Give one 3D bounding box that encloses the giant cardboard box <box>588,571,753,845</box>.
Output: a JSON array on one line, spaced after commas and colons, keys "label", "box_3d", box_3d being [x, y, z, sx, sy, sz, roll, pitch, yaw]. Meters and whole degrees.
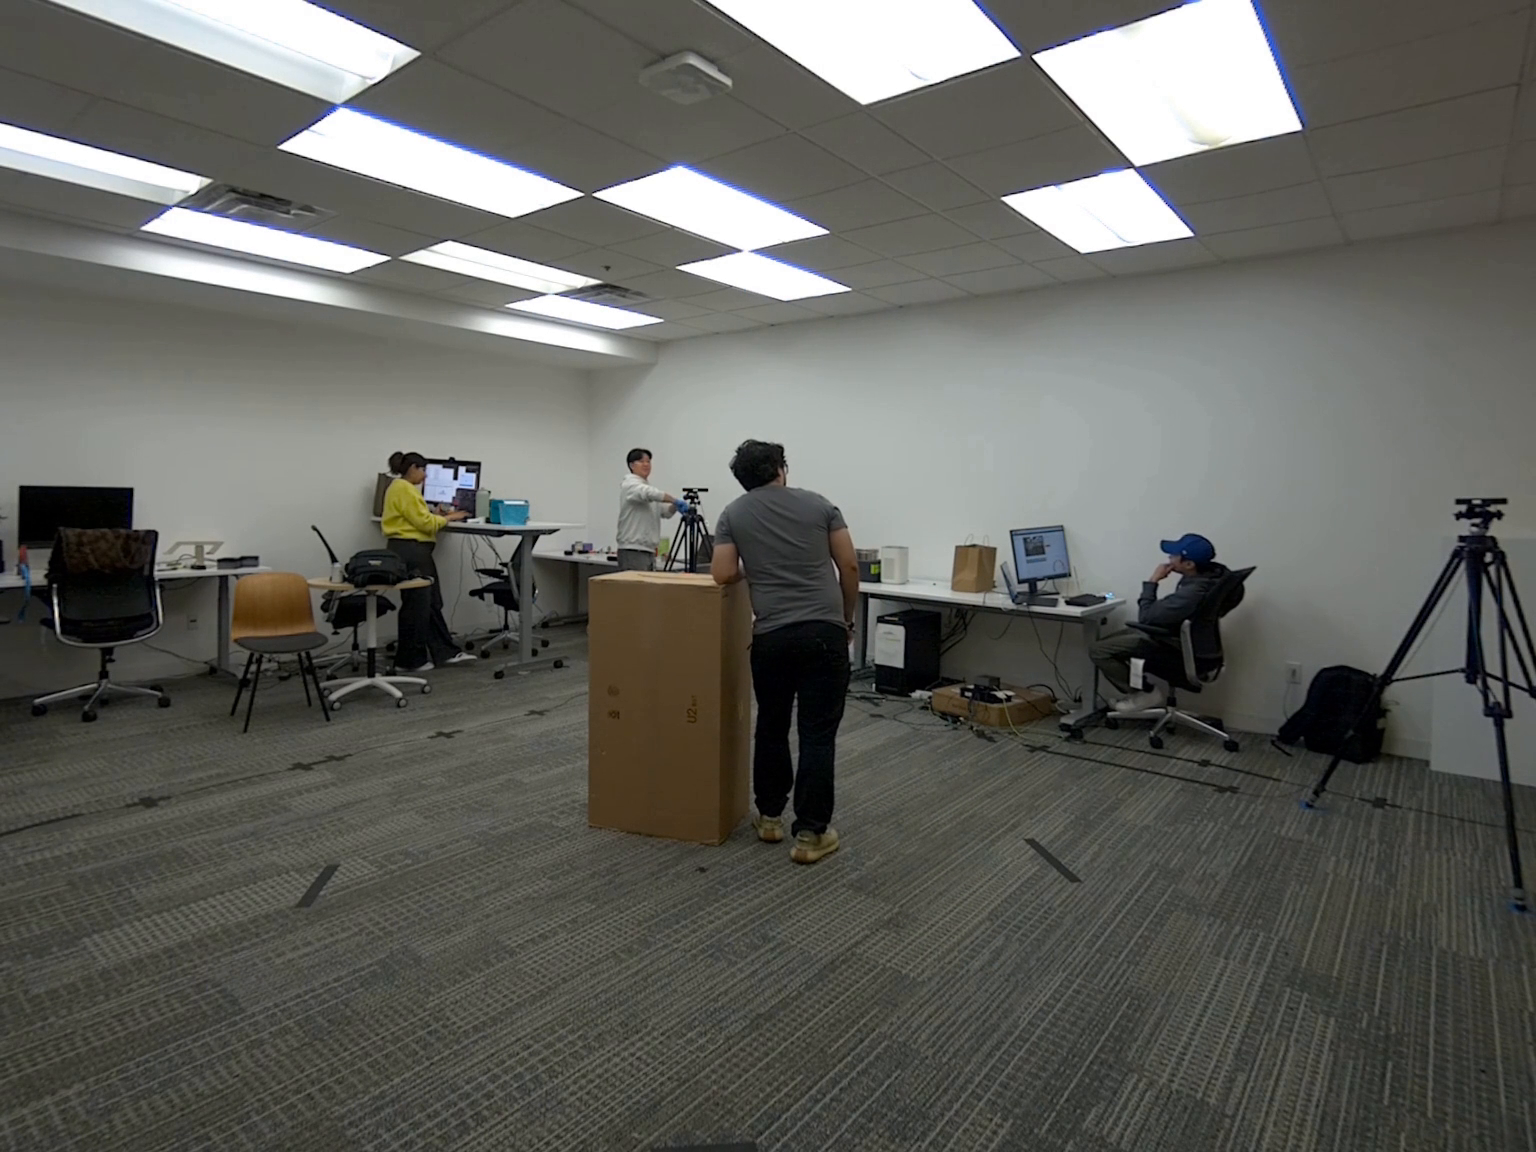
[{"label": "giant cardboard box", "box_3d": [-0.422, 0.512, 3.587, 0.589, 1.023, 0.419, 2, 3, 19]}]
